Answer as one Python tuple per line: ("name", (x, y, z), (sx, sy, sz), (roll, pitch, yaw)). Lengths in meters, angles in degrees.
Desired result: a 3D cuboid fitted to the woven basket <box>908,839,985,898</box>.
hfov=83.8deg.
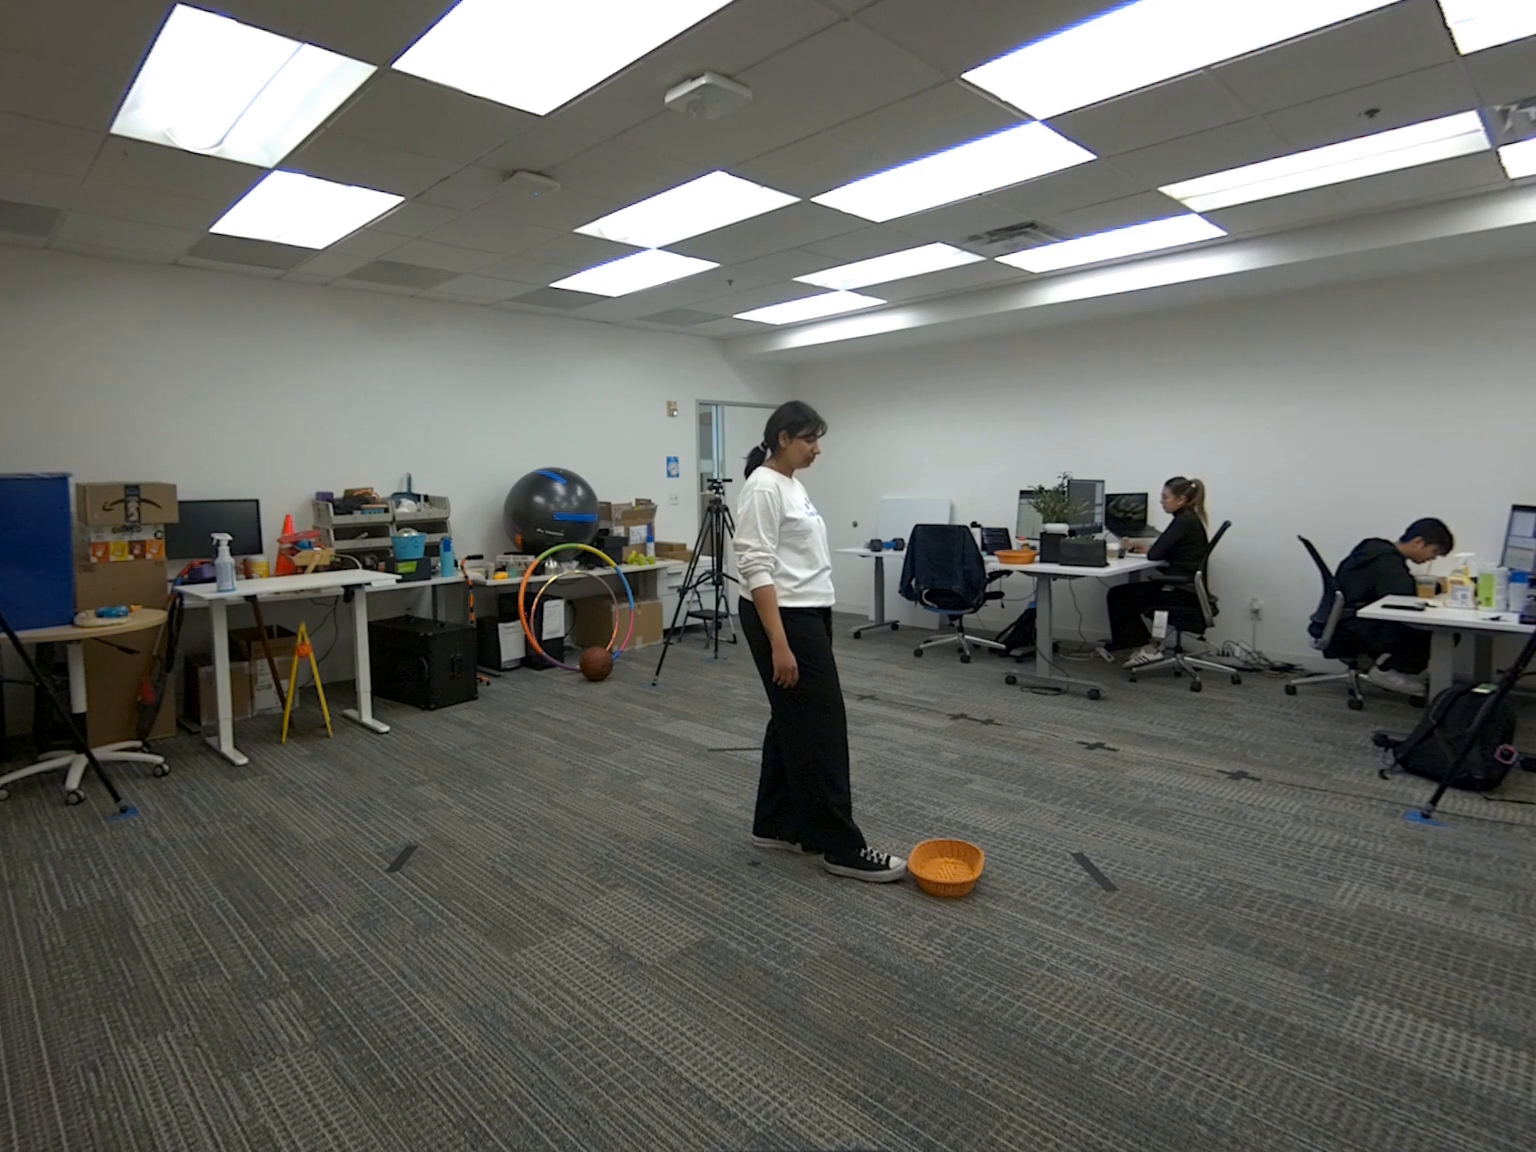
("woven basket", (0.612, 1.008, 2.967), (0.258, 0.073, 0.344), (1, 7, 24))
